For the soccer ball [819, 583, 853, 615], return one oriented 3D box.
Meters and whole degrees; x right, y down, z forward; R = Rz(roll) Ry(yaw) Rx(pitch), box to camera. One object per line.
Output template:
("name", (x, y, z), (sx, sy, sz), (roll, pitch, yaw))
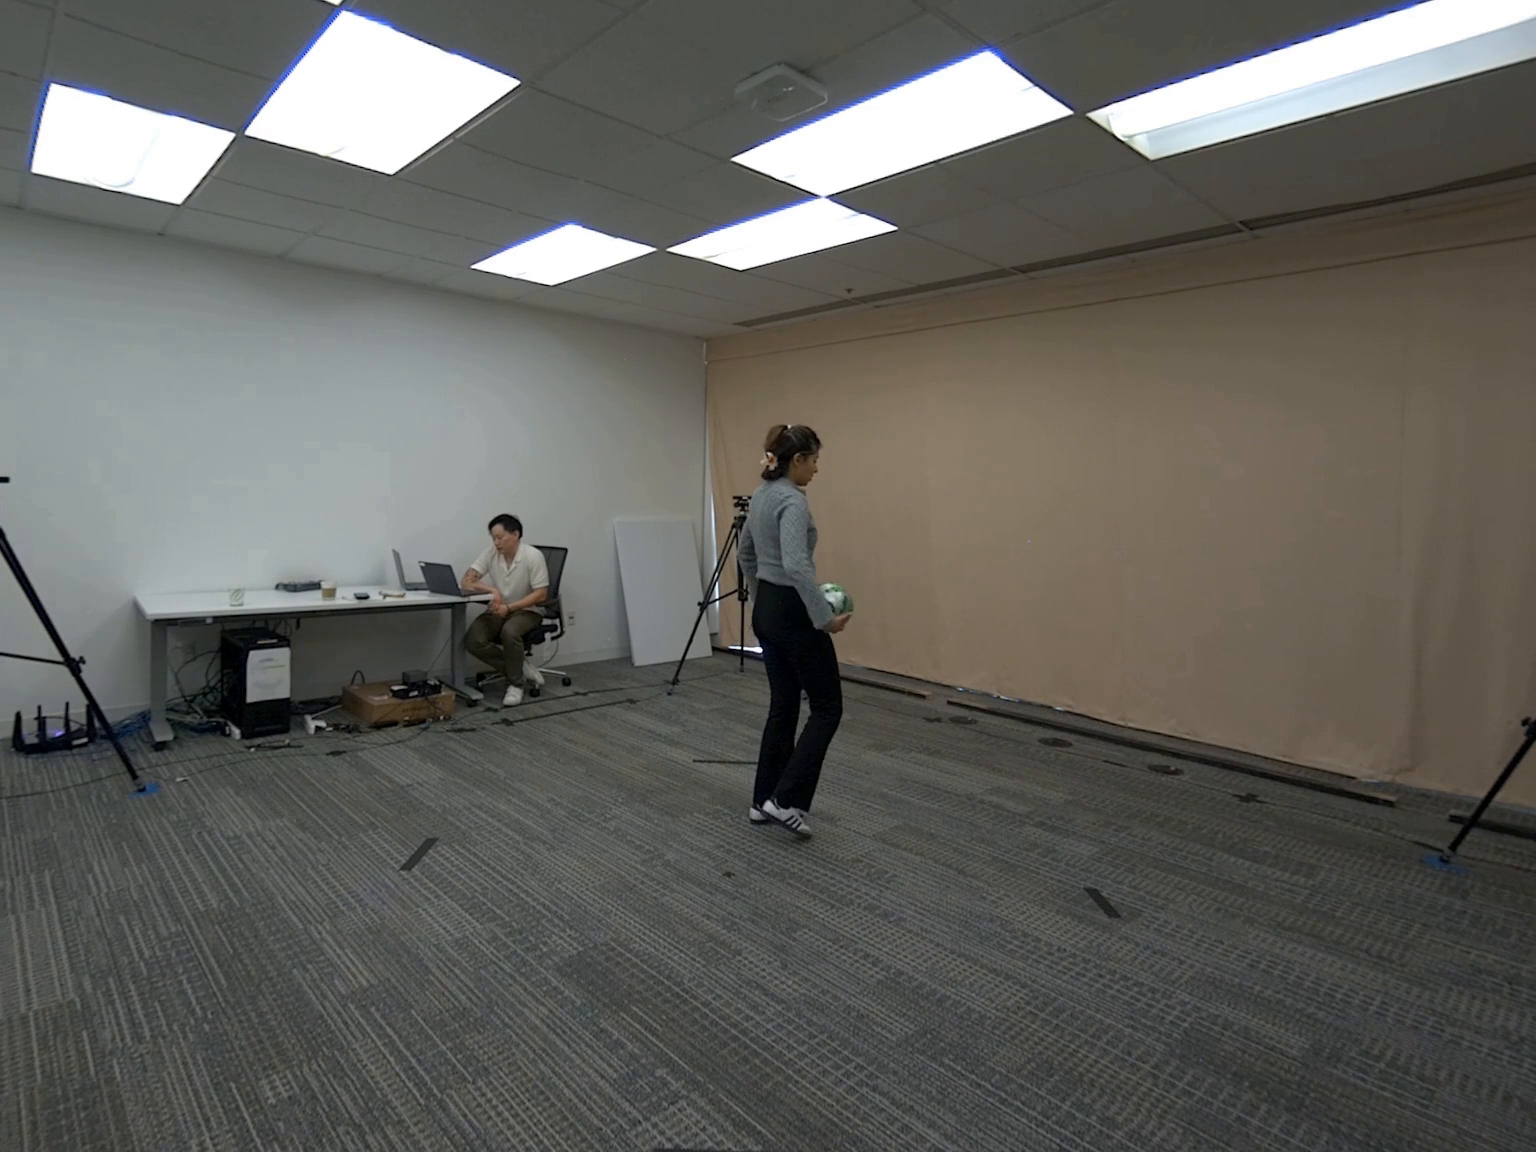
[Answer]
("soccer ball", (0.226, 0.116, 3.332), (0.187, 0.187, 0.188), (1, 4, -1))
